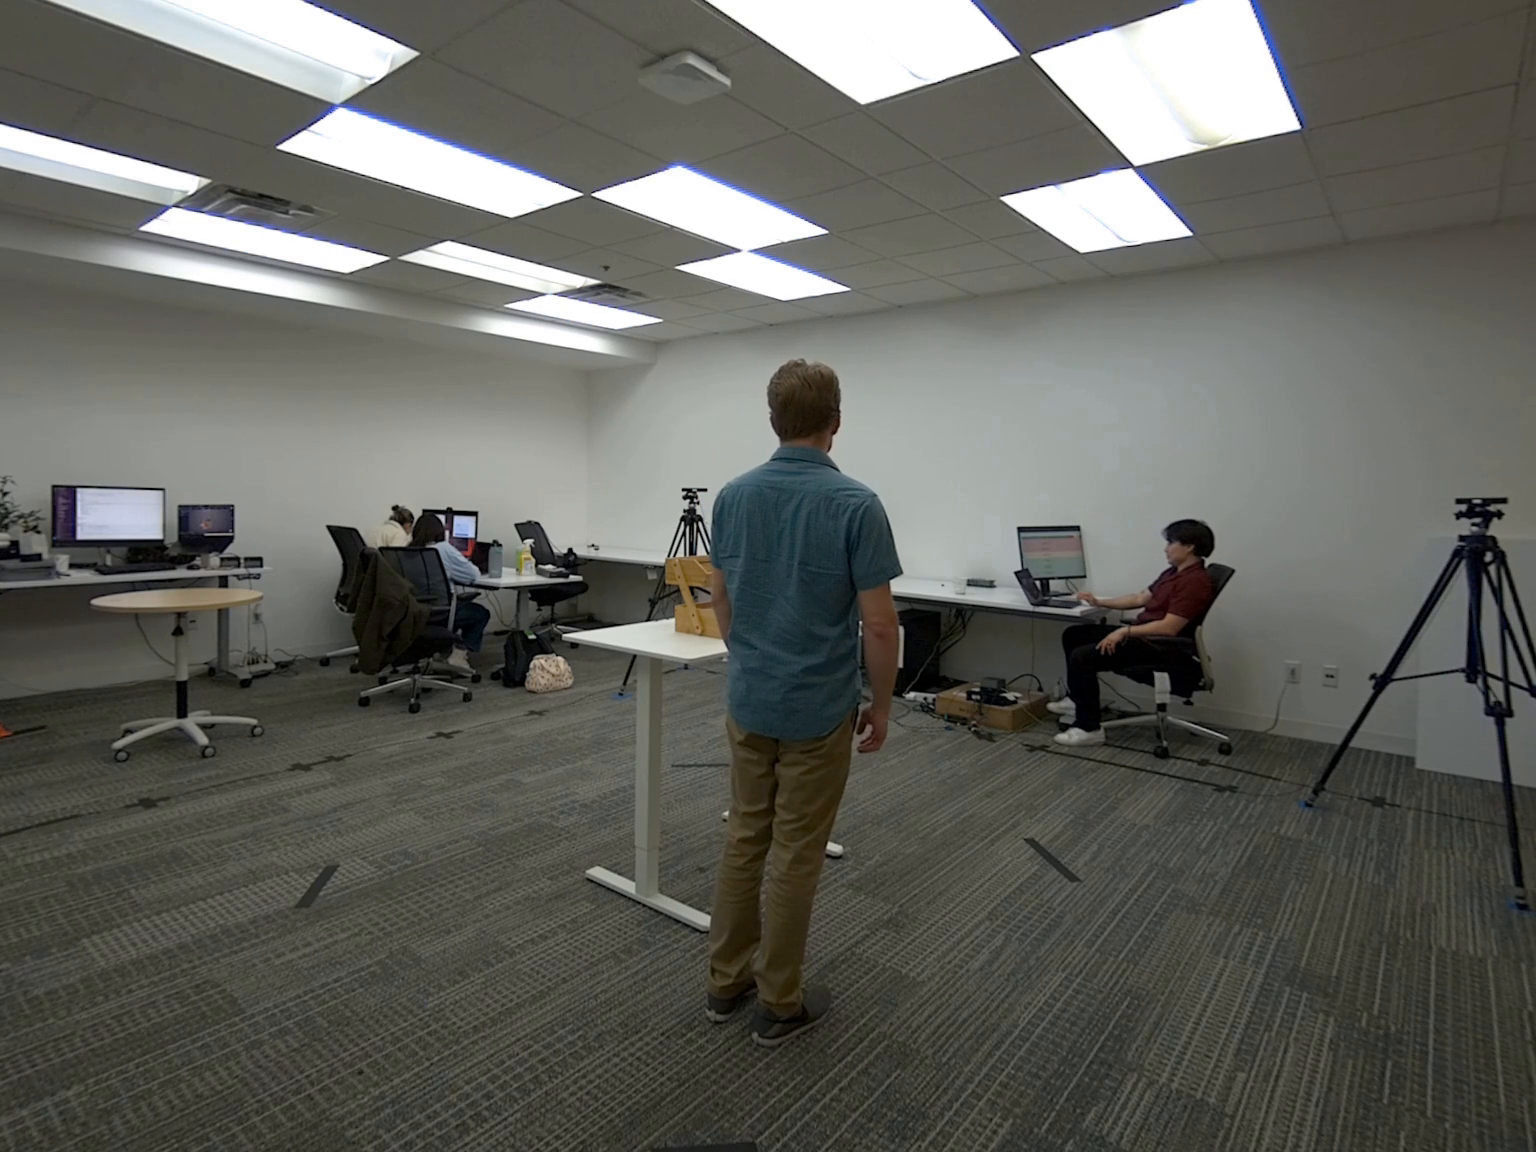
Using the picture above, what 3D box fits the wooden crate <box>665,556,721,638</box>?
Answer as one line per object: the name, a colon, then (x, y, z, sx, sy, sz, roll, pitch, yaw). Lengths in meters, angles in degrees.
wooden crate: (-0.170, 0.059, 3.064, 0.312, 0.272, 0.315, 3, 5, 40)
